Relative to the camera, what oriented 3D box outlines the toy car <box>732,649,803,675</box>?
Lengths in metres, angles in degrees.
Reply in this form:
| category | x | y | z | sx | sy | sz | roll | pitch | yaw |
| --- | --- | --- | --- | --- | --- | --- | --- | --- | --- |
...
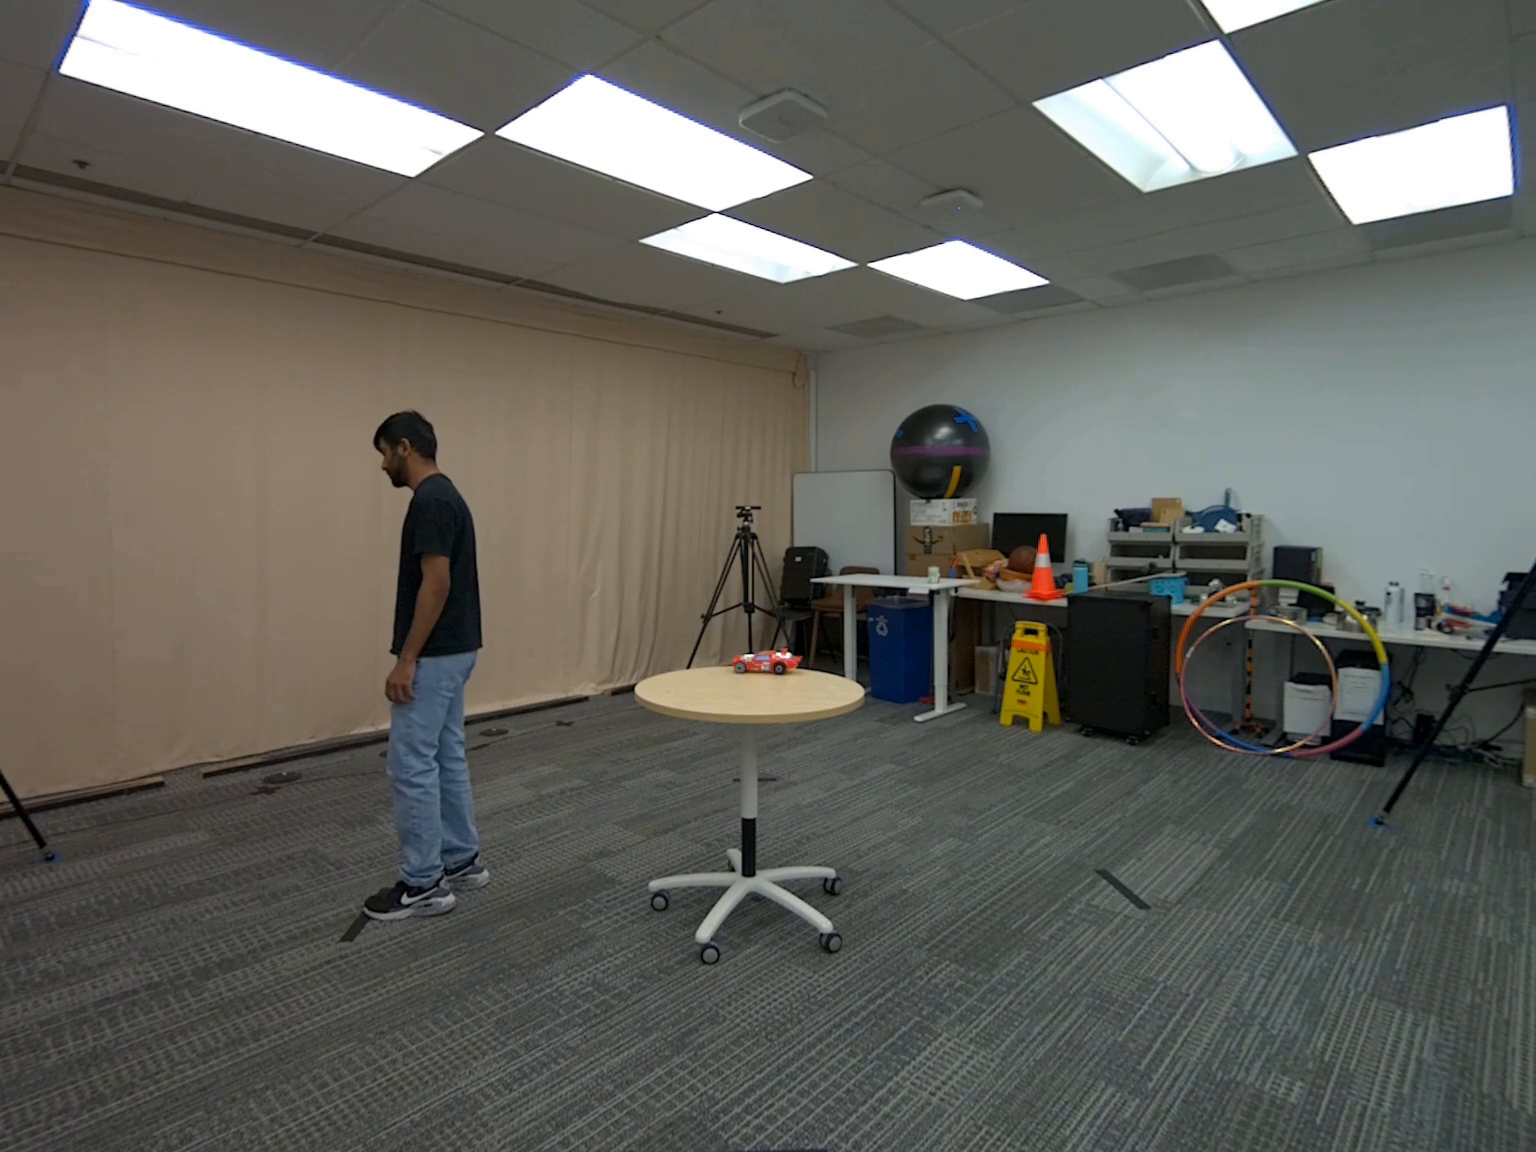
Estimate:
| category | x | y | z | sx | sy | sz | roll | pitch | yaw |
| --- | --- | --- | --- | --- | --- | --- | --- | --- | --- |
| toy car | 0.004 | 0.320 | 3.090 | 0.257 | 0.083 | 0.129 | -10 | 1 | 11 |
